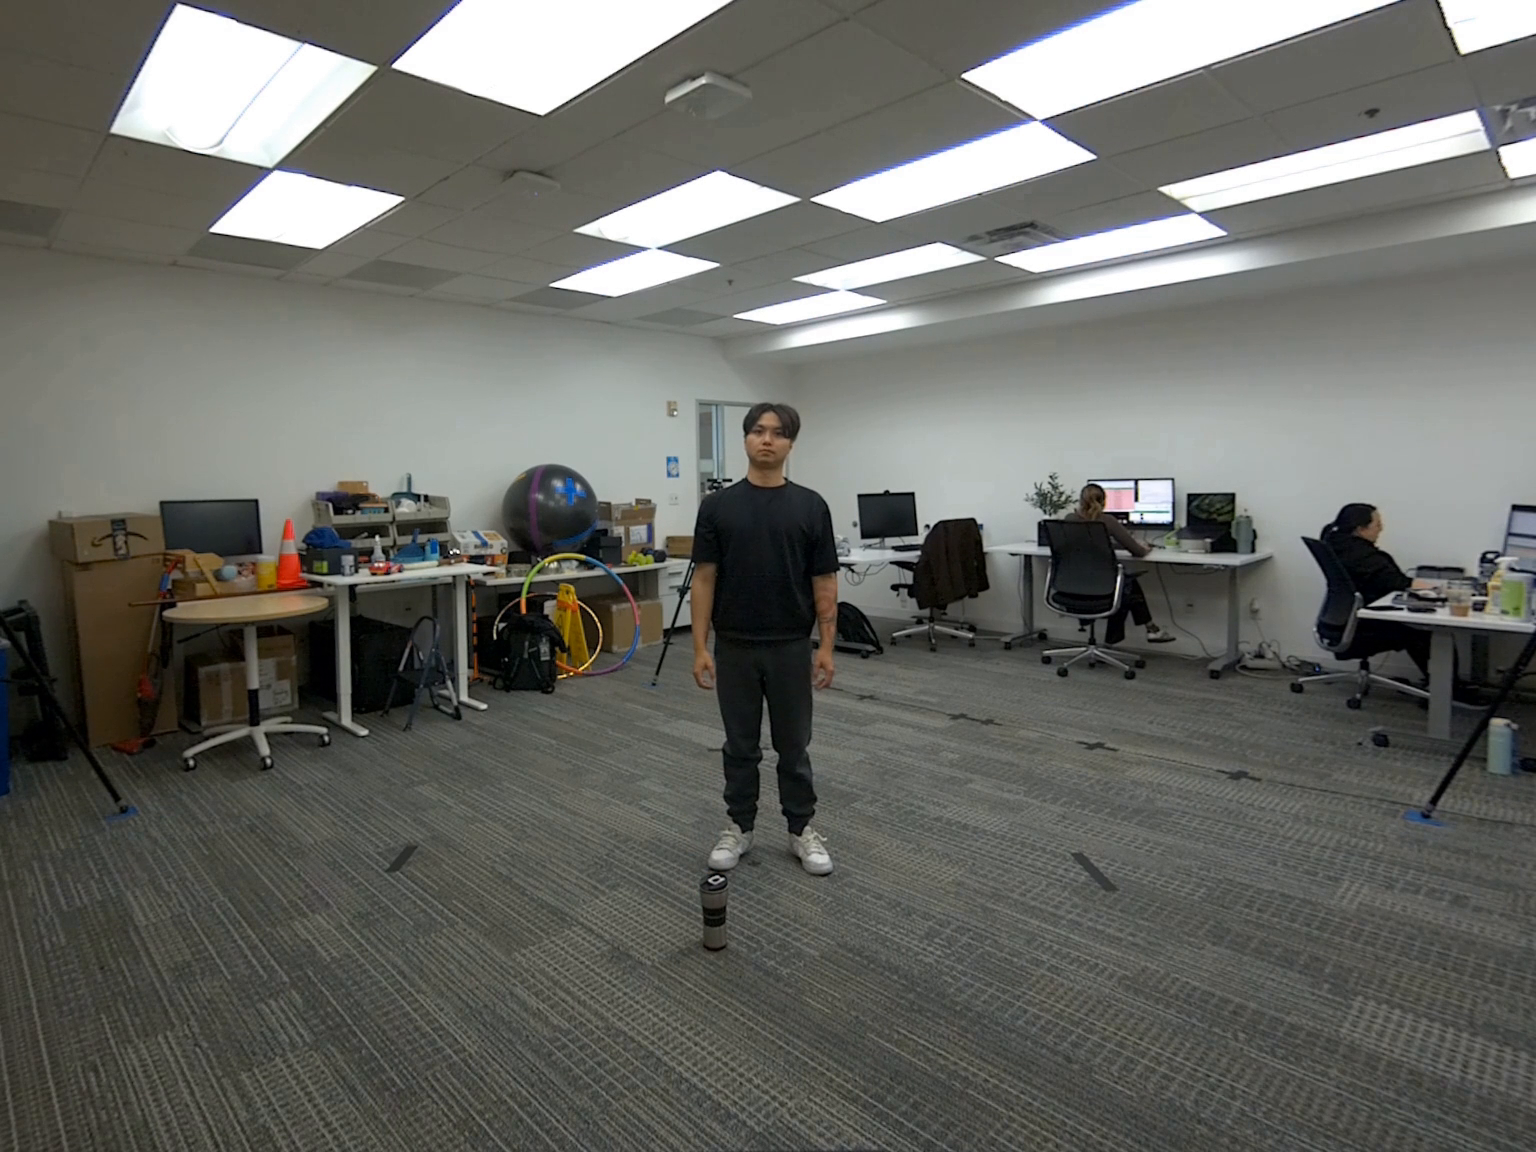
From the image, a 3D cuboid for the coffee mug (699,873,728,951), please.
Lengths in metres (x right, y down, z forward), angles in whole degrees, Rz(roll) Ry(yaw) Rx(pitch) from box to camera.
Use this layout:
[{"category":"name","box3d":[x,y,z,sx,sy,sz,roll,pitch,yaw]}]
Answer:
[{"category":"coffee mug","box3d":[-0.142,1.012,2.572,0.090,0.202,0.119,-1,6,39]}]
